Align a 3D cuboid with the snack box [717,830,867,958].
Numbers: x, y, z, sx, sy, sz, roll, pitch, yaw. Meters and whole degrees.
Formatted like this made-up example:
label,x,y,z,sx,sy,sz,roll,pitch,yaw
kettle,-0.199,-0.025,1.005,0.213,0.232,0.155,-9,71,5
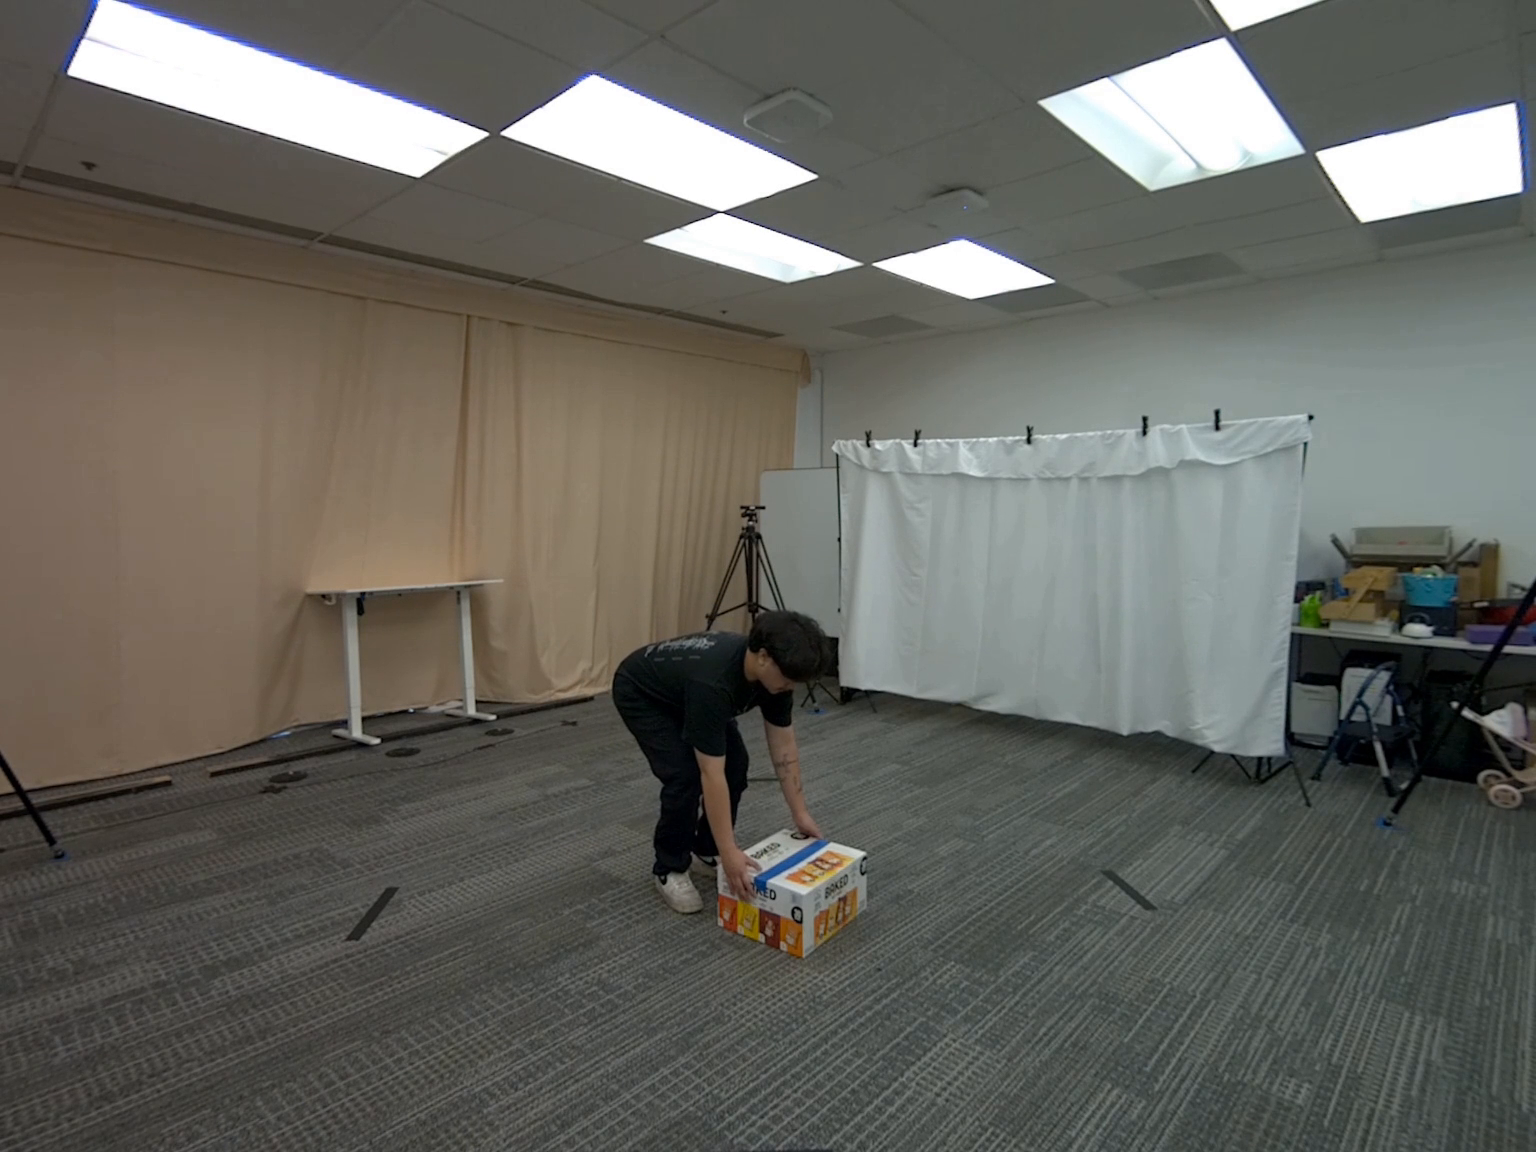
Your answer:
label,x,y,z,sx,sy,sz,roll,pitch,yaw
snack box,0.089,1.054,2.838,0.351,0.205,0.393,3,6,36
